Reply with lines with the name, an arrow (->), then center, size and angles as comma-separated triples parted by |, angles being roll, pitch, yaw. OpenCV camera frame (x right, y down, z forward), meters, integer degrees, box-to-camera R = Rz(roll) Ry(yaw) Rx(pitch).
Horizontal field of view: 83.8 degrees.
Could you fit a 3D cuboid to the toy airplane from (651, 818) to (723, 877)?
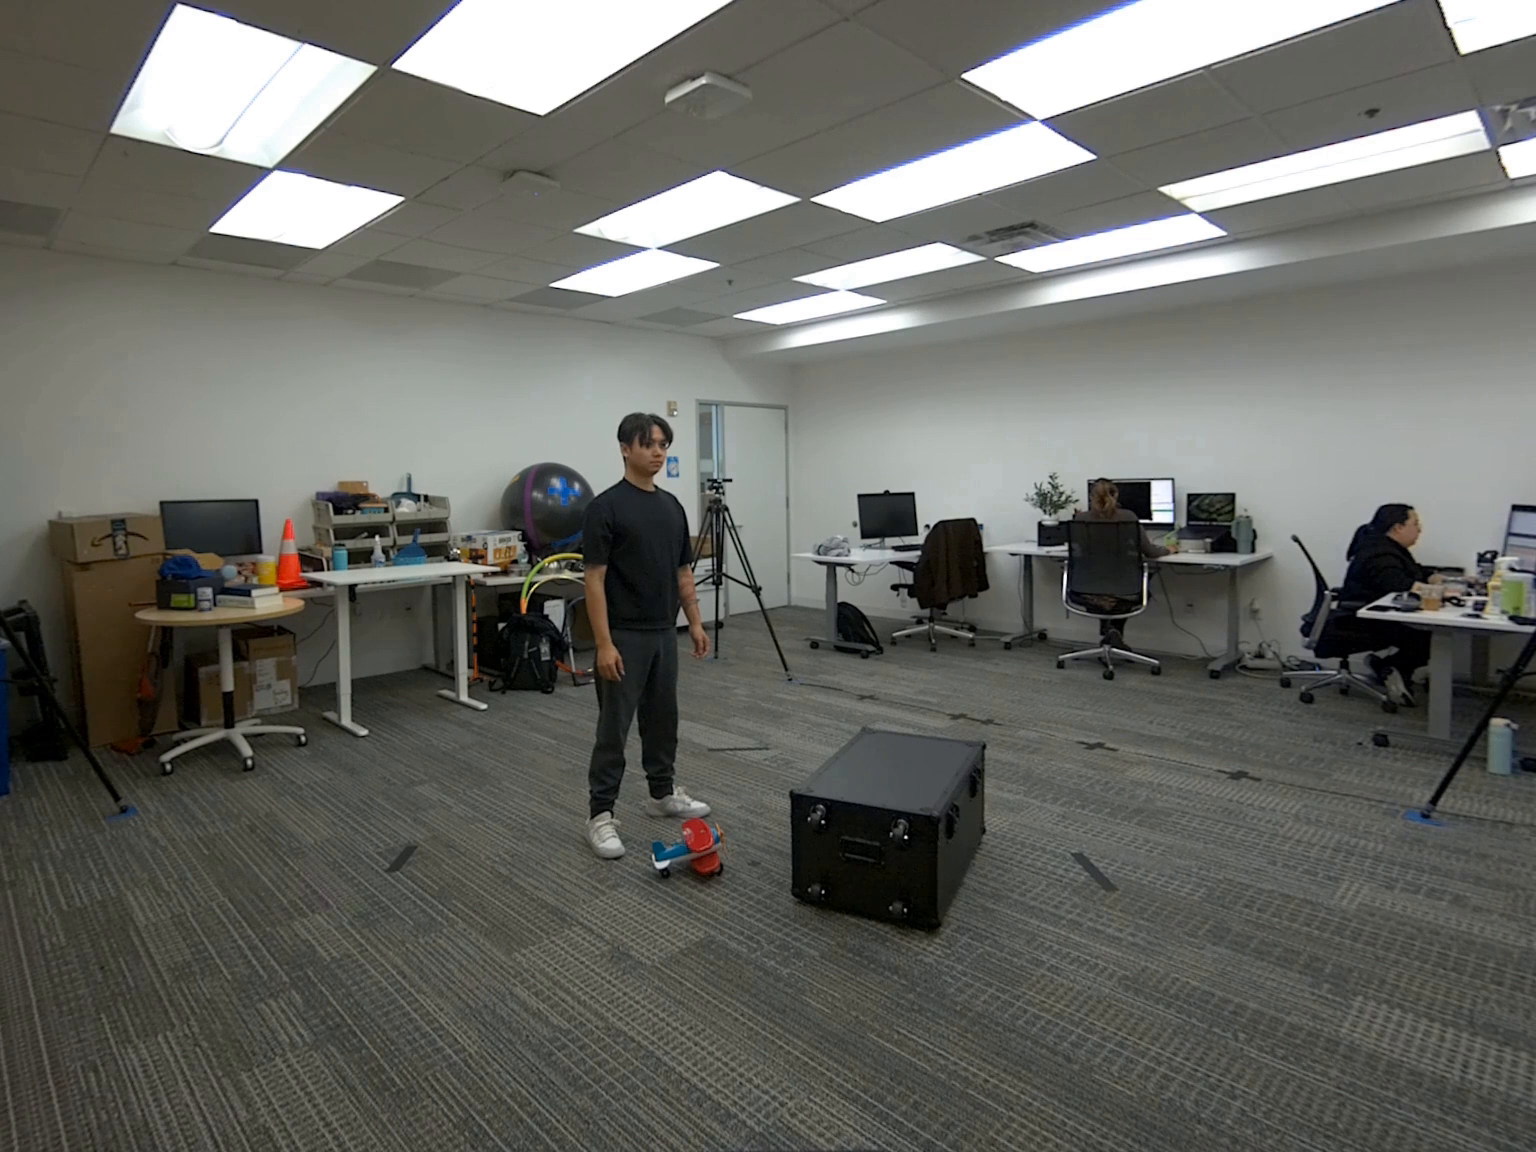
toy airplane -> -0.263, 0.982, 3.018 | 0.252, 0.156, 0.259 | -5, 7, -43
